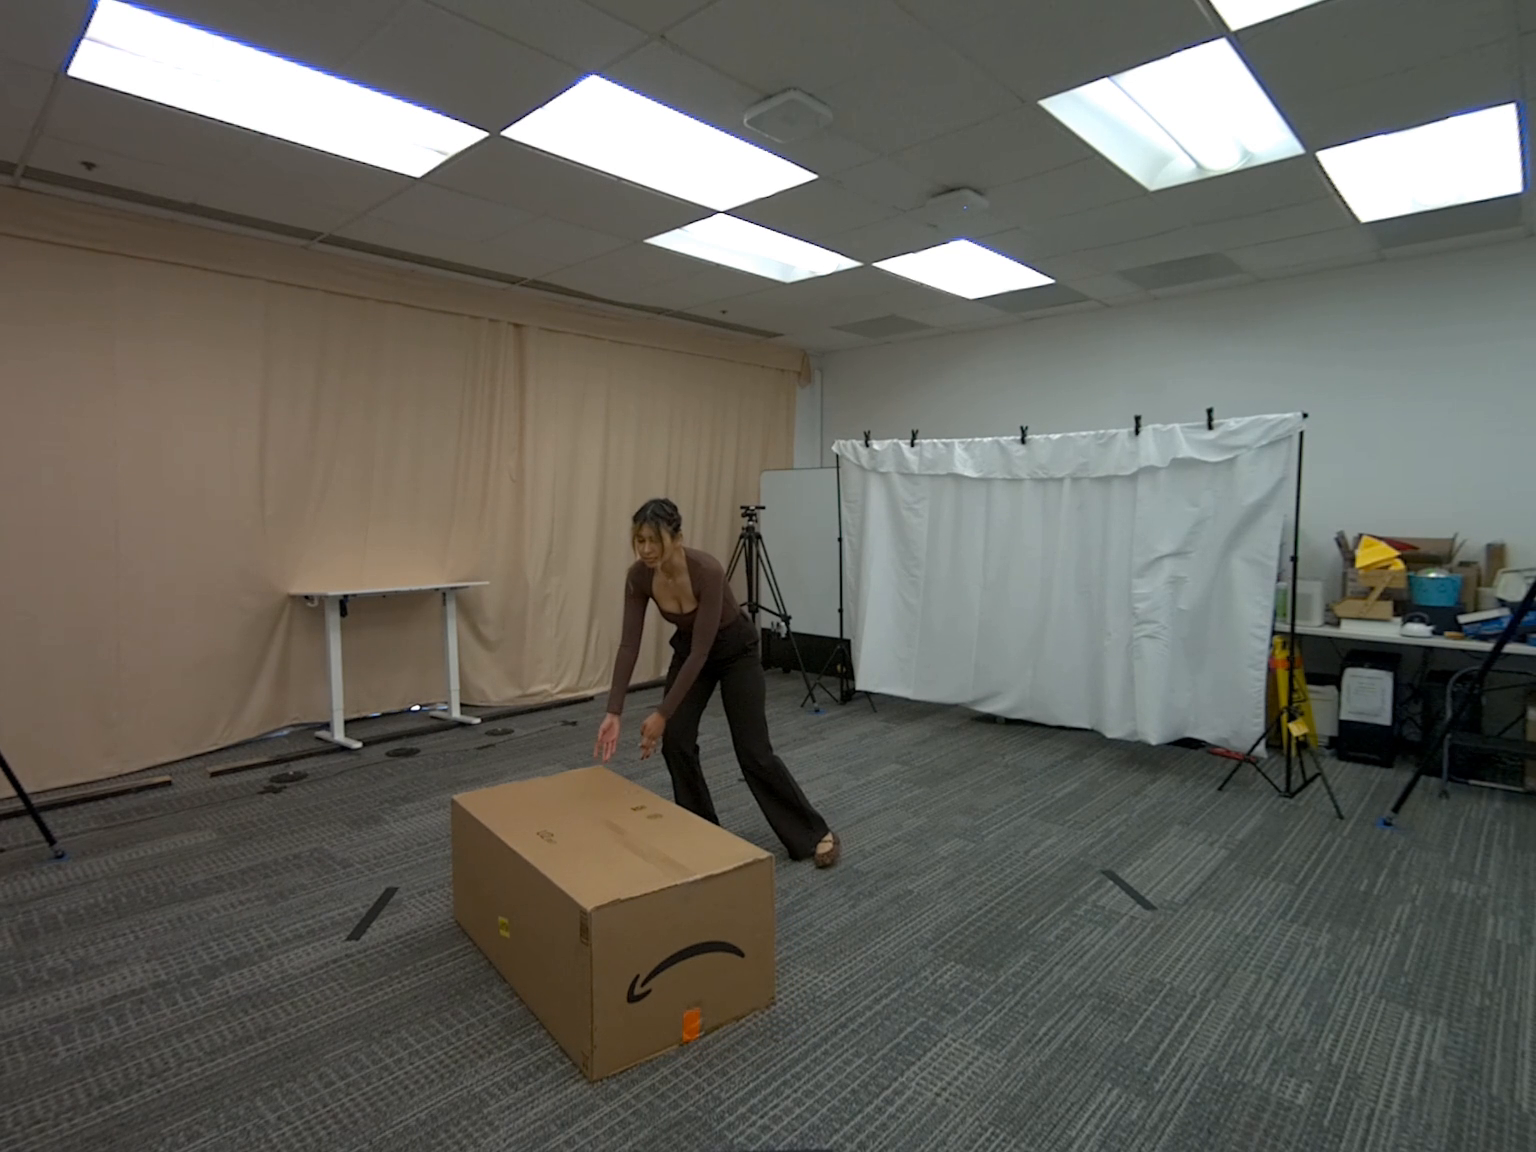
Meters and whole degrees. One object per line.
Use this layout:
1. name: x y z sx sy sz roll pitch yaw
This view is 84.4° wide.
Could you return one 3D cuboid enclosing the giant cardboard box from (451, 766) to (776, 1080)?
1. giant cardboard box: -0.527 0.972 2.594 0.567 0.446 1.060 -4 5 -37
